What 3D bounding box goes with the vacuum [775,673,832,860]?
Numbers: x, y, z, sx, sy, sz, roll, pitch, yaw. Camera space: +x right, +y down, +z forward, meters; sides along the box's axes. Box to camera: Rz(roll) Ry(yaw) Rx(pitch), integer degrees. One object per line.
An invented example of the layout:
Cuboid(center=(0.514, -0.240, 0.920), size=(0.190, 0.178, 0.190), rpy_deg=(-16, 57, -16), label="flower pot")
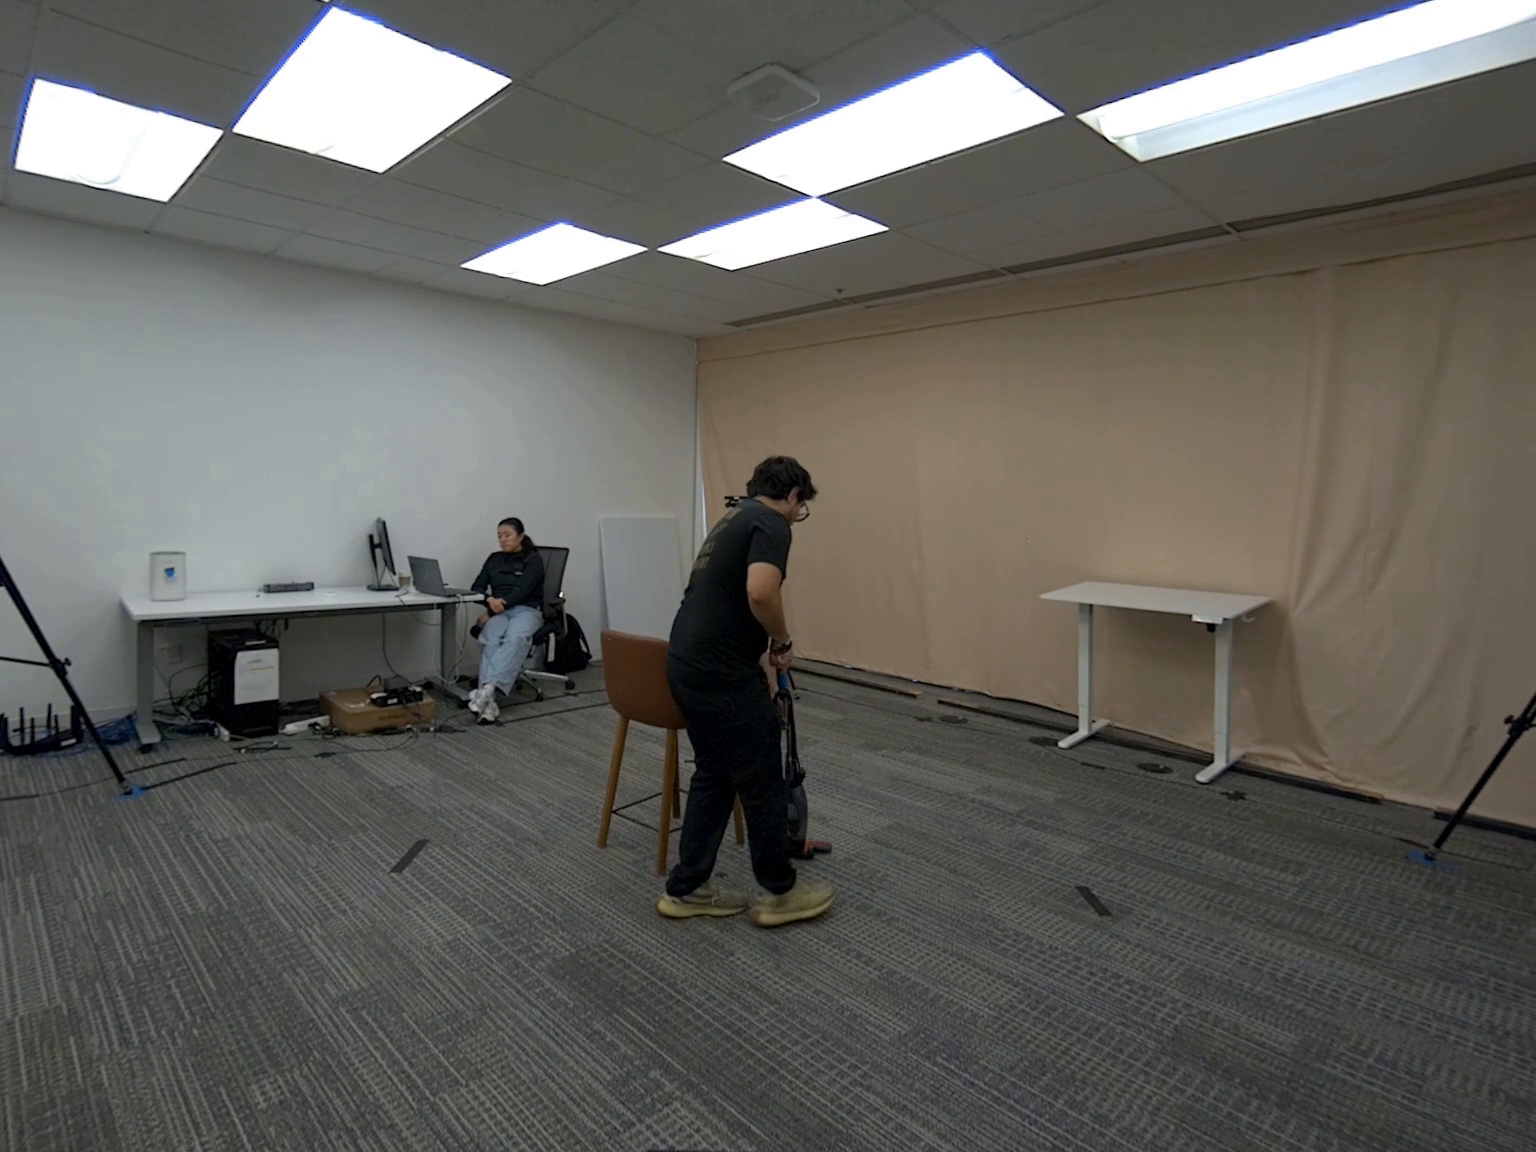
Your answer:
Cuboid(center=(0.077, 0.670, 3.023), size=(0.256, 1.026, 0.145), rpy_deg=(6, 37, 14), label="vacuum")
